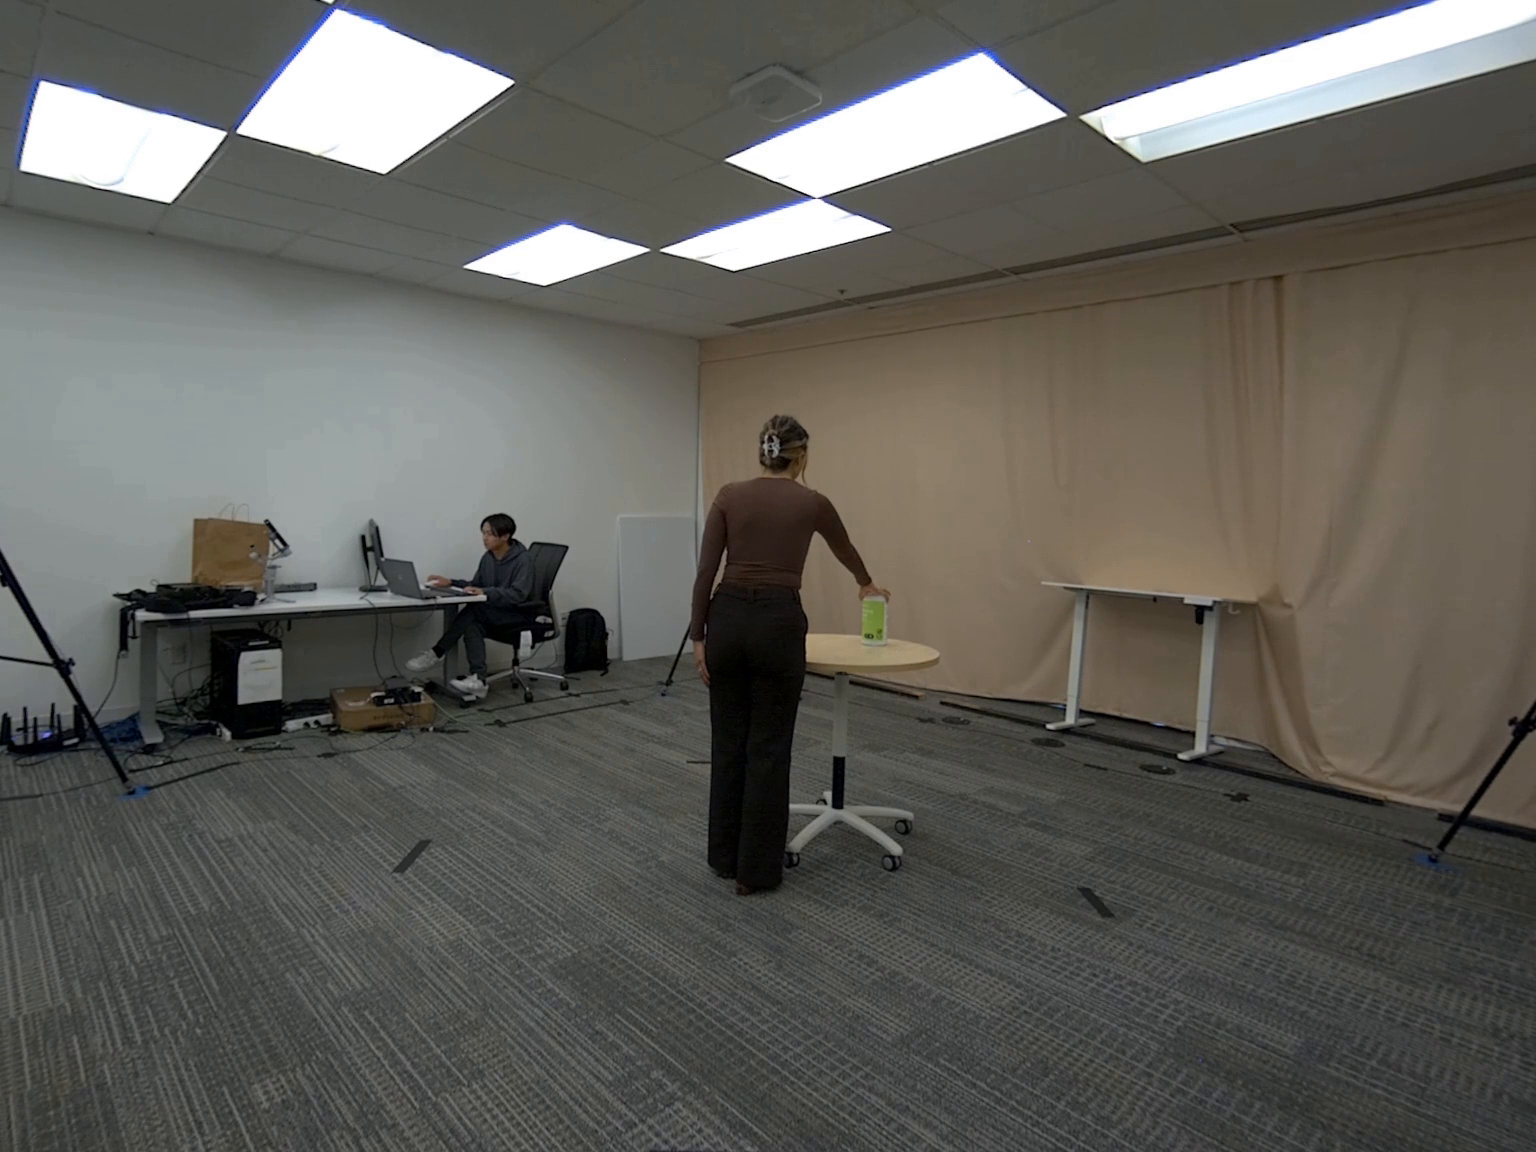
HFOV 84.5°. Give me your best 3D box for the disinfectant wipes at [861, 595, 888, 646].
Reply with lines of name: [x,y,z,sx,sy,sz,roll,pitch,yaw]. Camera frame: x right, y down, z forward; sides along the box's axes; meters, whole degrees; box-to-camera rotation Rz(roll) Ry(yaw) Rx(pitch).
disinfectant wipes: [0.442,0.181,3.542,0.118,0.217,0.118,1,5,-1]
